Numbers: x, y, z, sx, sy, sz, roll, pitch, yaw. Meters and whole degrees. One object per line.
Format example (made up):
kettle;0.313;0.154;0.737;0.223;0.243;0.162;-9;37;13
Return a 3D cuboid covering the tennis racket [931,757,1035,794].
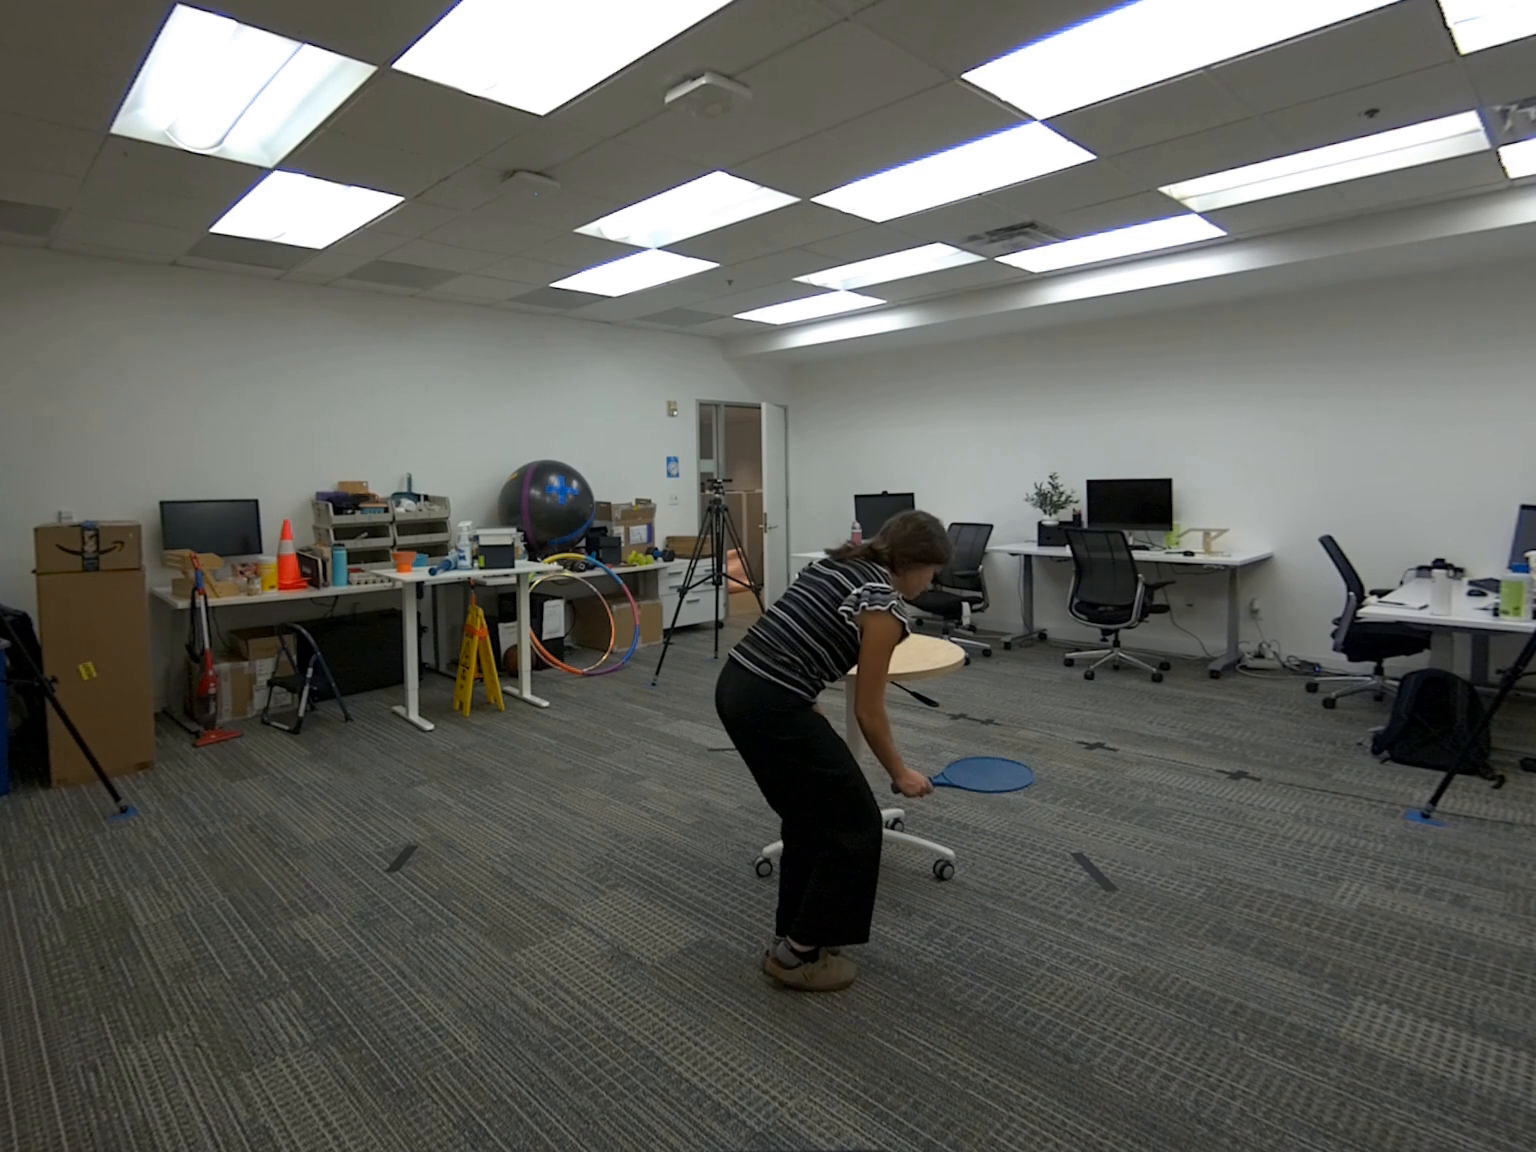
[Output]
tennis racket;0.553;0.580;2.457;0.428;0.031;0.218;-3;11;-12
